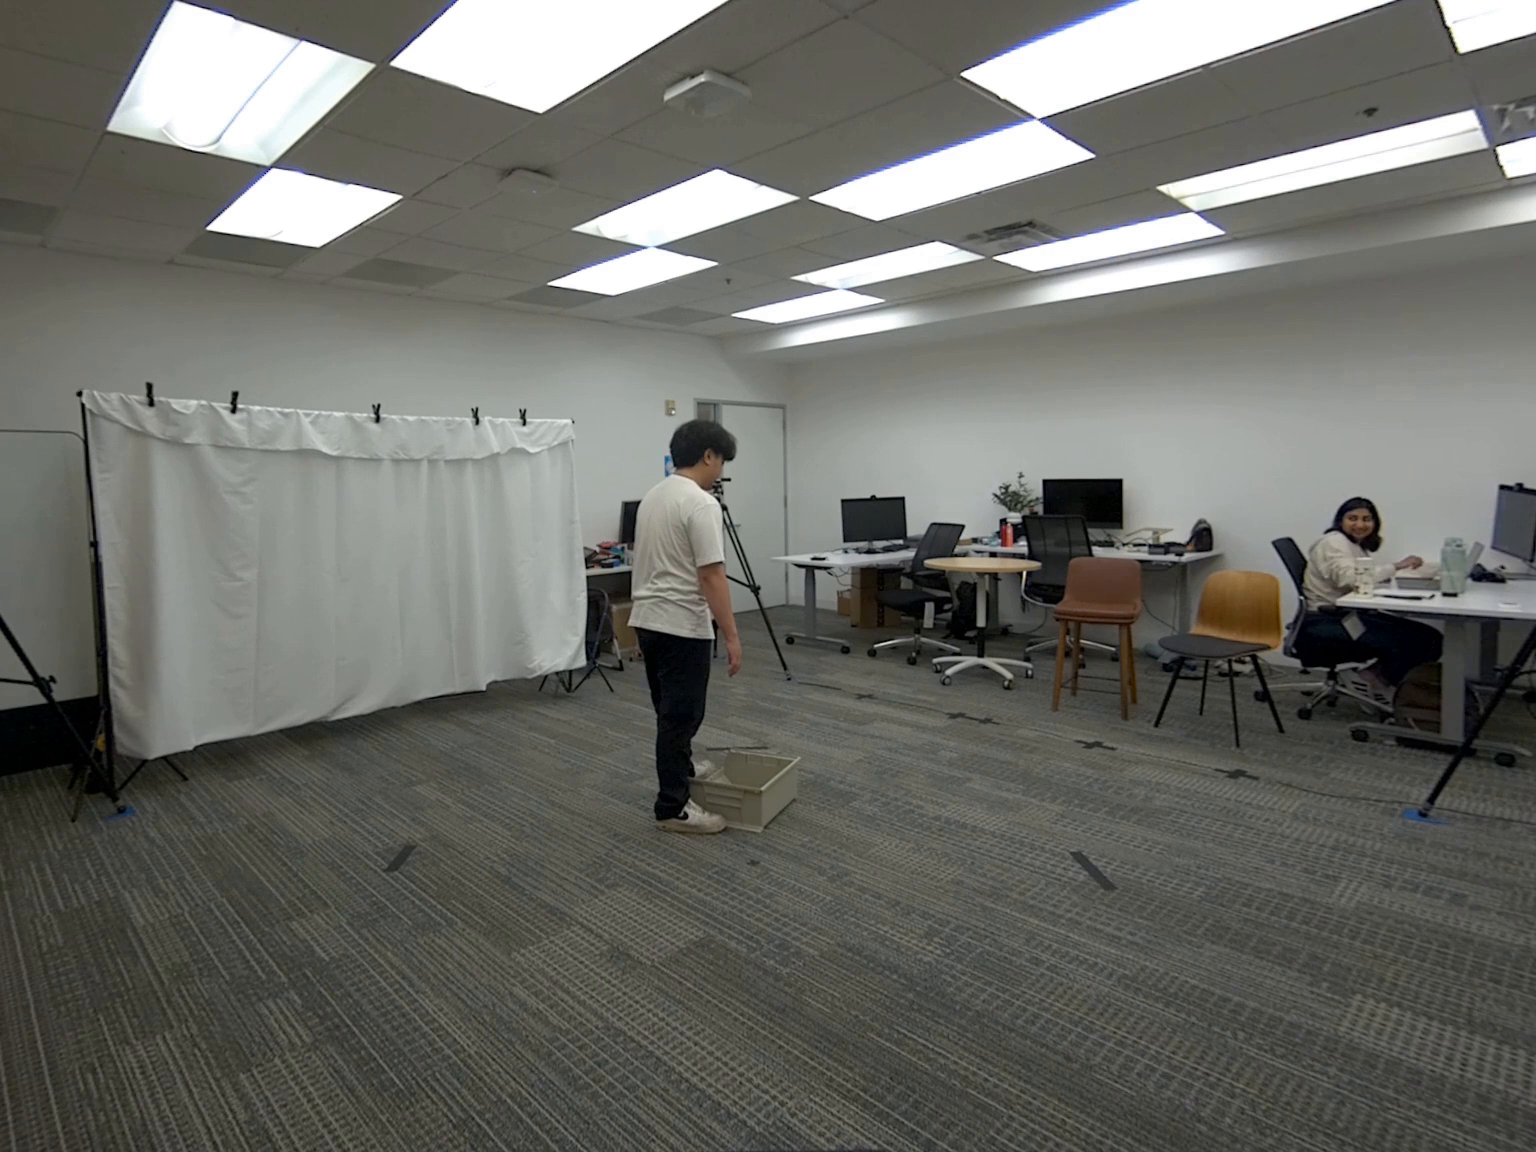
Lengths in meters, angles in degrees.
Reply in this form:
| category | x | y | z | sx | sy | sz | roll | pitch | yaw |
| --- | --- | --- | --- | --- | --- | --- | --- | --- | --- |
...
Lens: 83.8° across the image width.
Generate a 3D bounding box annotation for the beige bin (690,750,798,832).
| category | x | y | z | sx | sy | sz | roll | pitch | yaw |
| --- | --- | --- | --- | --- | --- | --- | --- | --- | --- |
| beige bin | -0.113 | 0.892 | 3.615 | 0.386 | 0.188 | 0.414 | 3 | 7 | 24 |
